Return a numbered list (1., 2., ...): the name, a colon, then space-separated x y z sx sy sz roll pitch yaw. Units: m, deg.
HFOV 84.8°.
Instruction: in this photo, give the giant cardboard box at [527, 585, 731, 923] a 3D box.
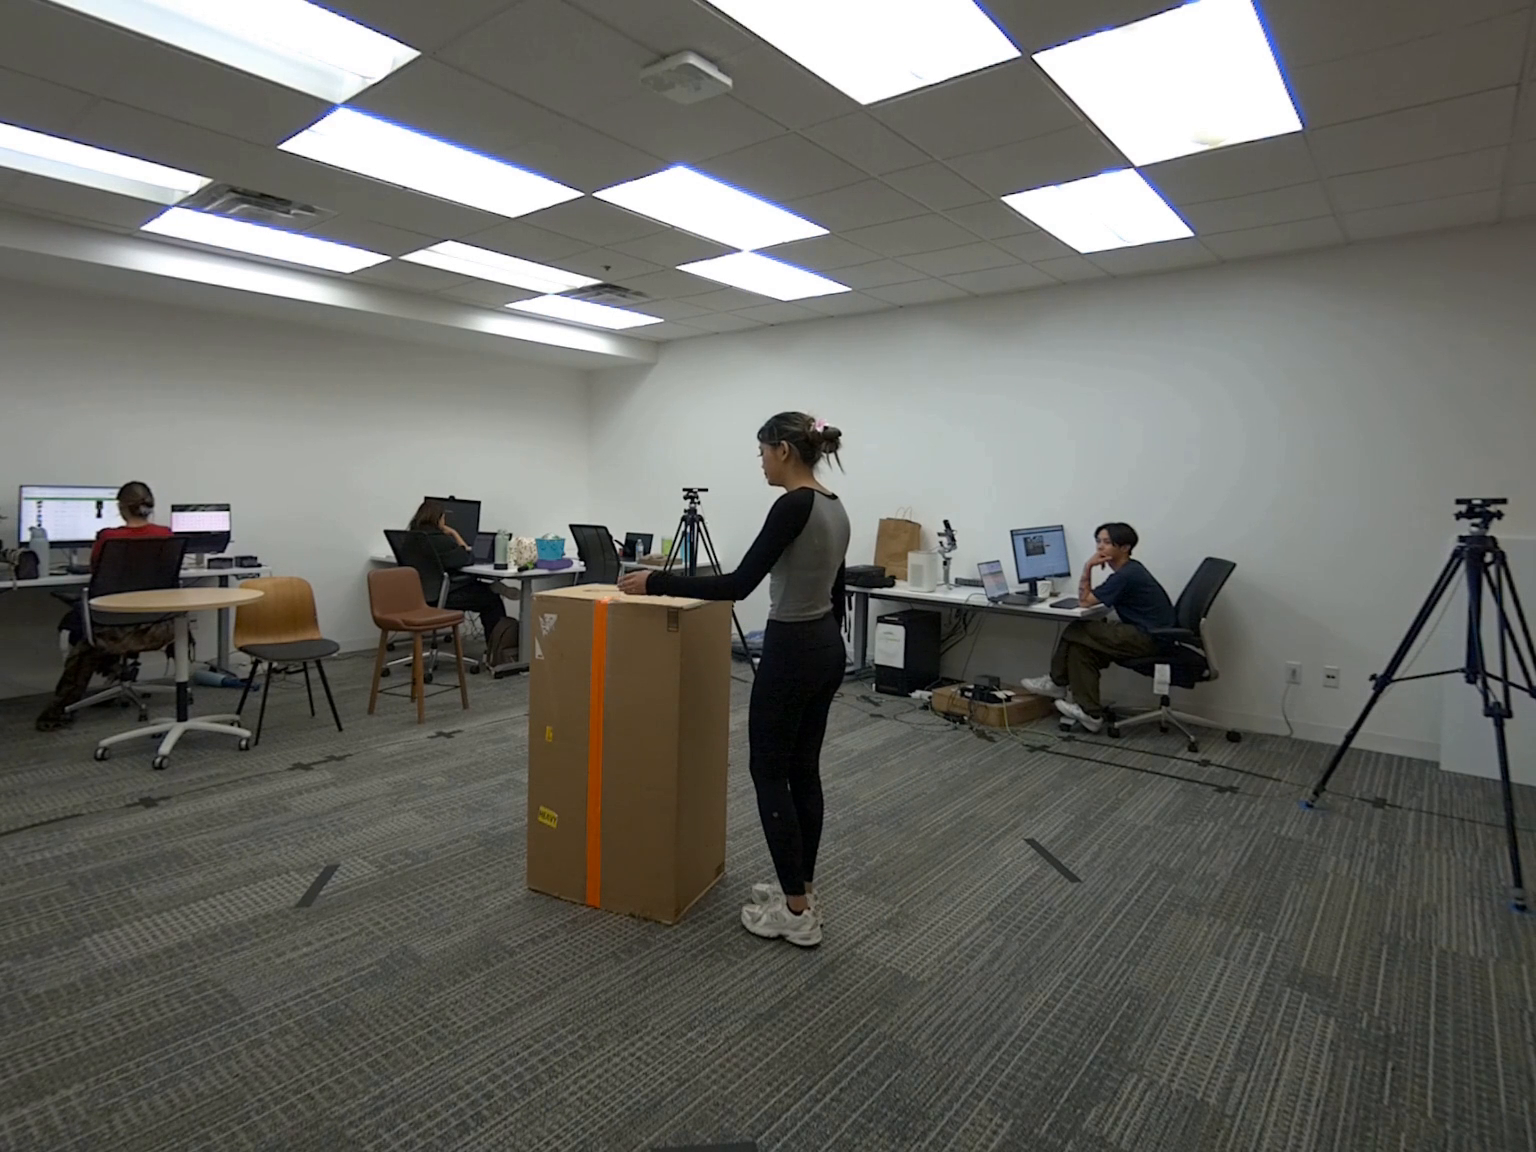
1. giant cardboard box: -0.493 0.571 2.978 0.598 1.025 0.437 3 2 22
